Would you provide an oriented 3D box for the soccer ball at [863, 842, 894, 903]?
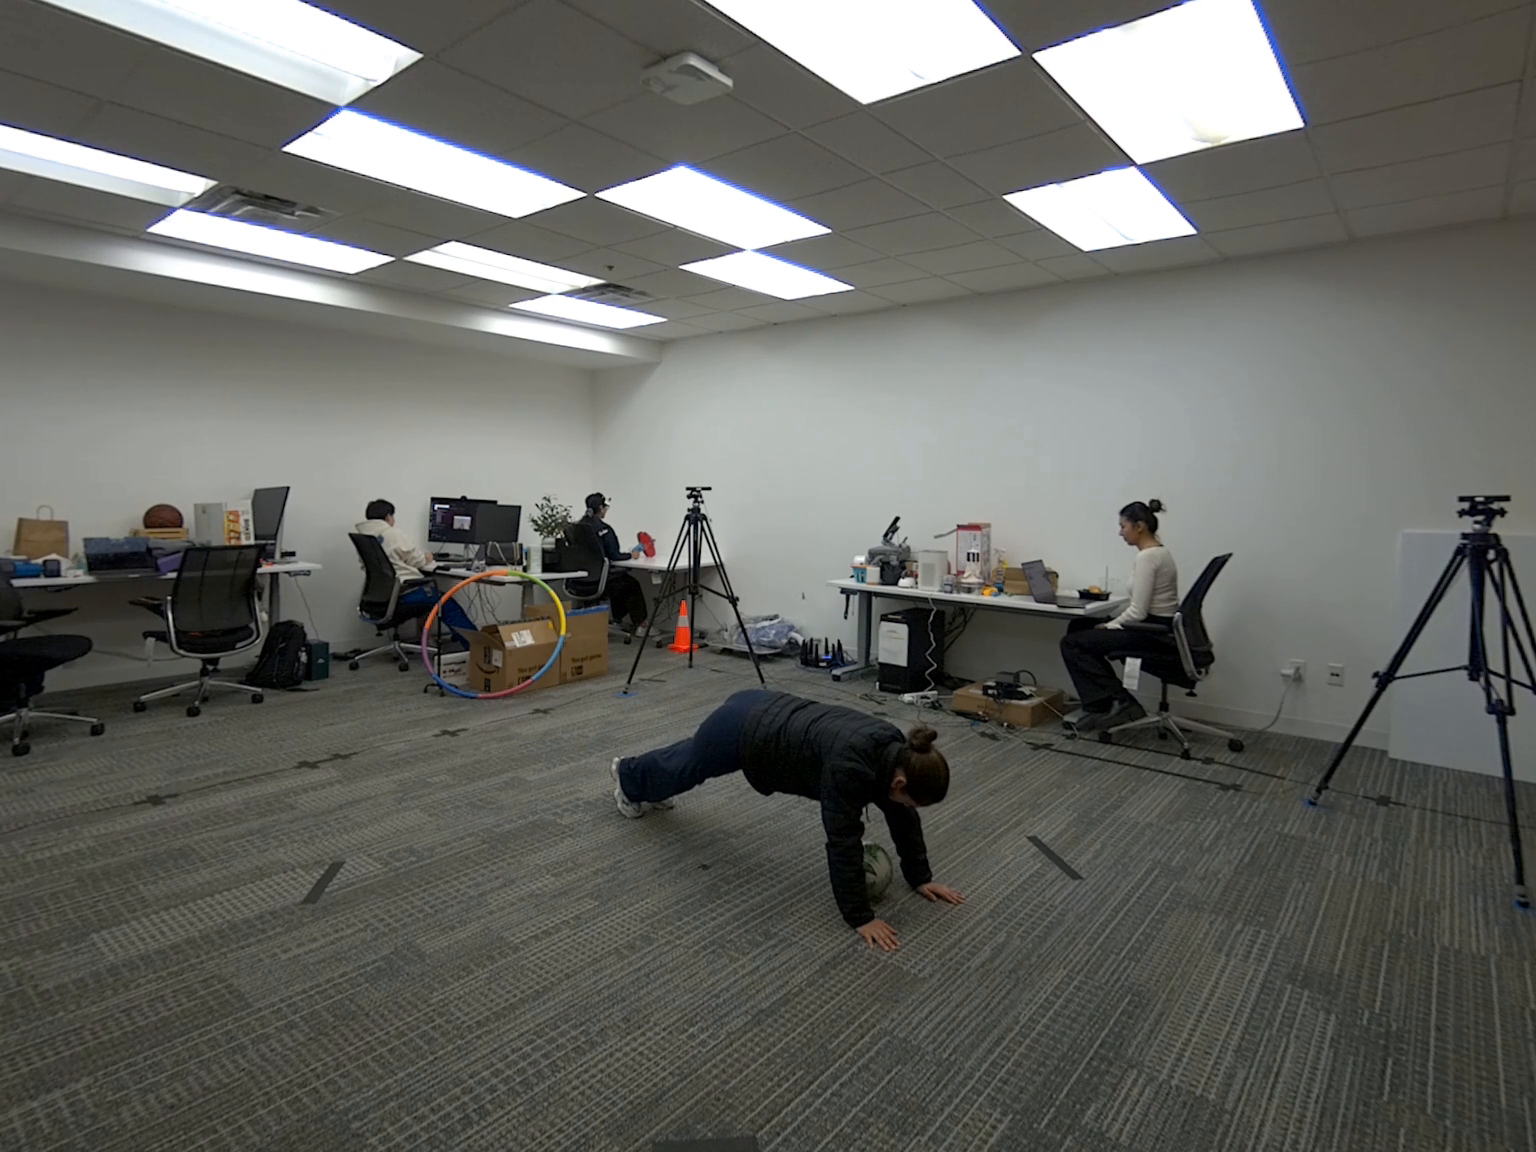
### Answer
[{"bbox_3d":[0.327,1.003,2.918,0.187,0.187,0.188,1,4,-2],"label":"soccer ball"}]
